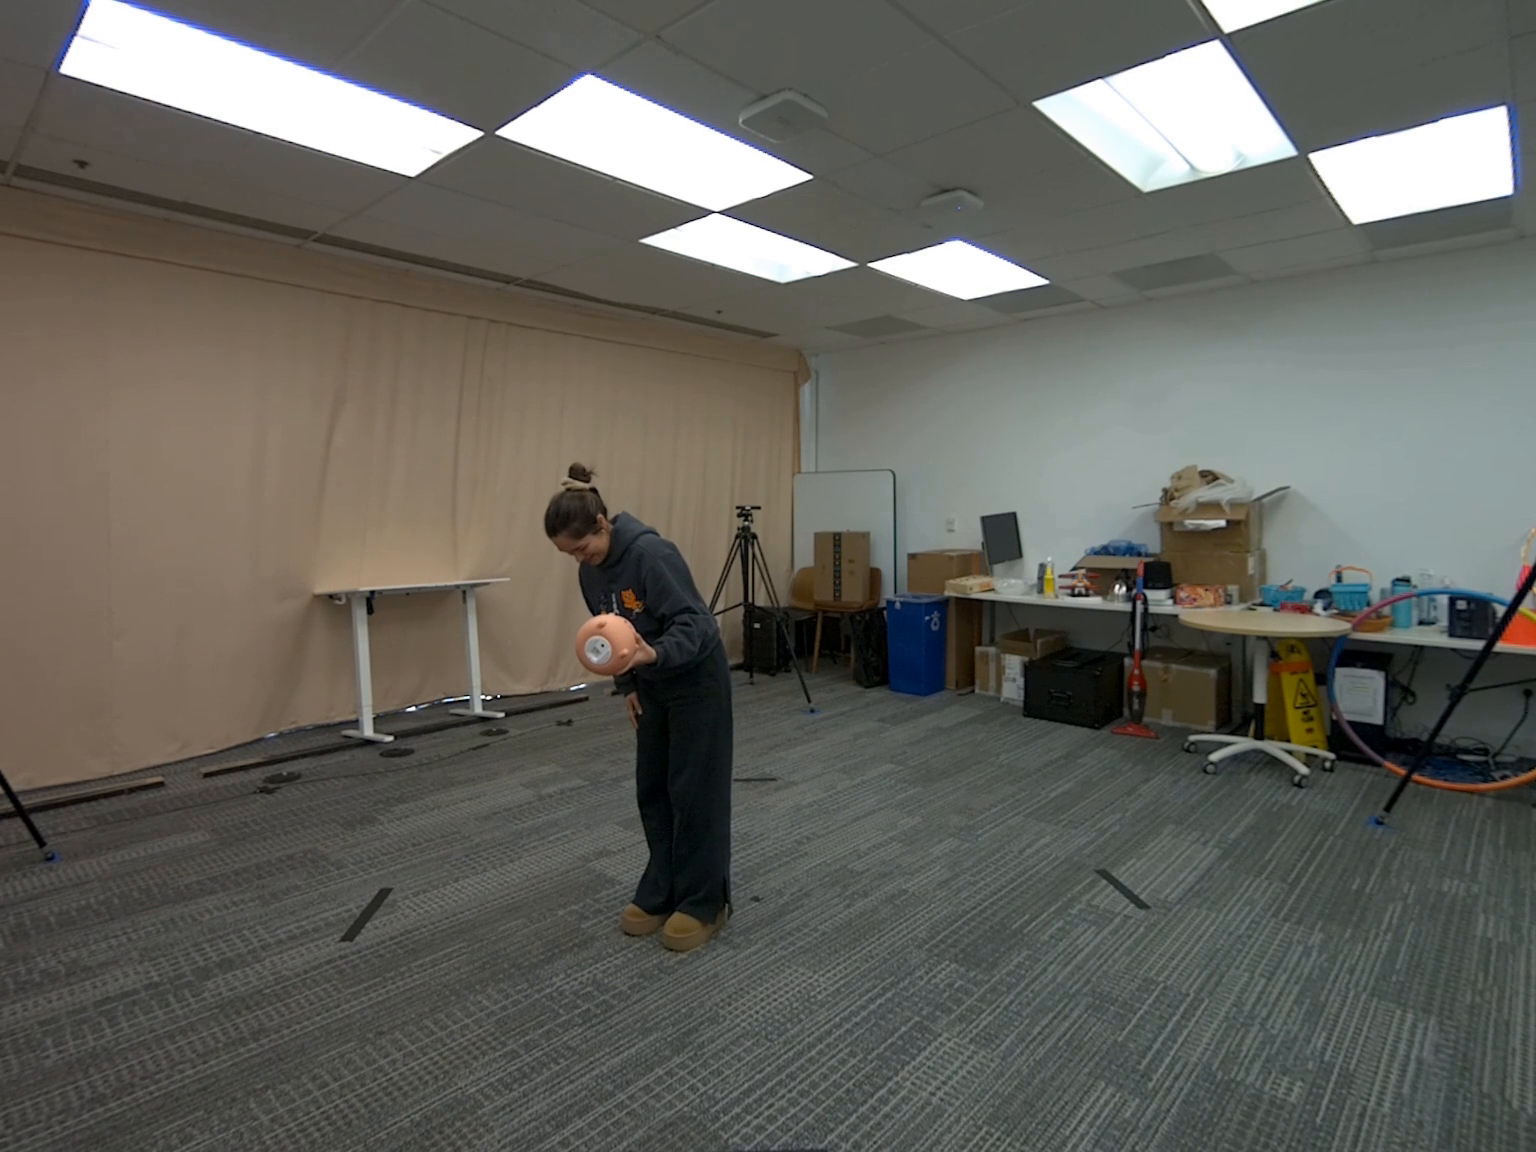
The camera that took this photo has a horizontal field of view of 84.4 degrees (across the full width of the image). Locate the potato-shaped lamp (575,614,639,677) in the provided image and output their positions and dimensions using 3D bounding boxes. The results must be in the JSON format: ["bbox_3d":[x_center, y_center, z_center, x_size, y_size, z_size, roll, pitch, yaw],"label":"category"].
[{"bbox_3d":[-0.436,0.187,2.370,0.173,0.165,0.196,-40,-1,20],"label":"potato-shaped lamp"}]
